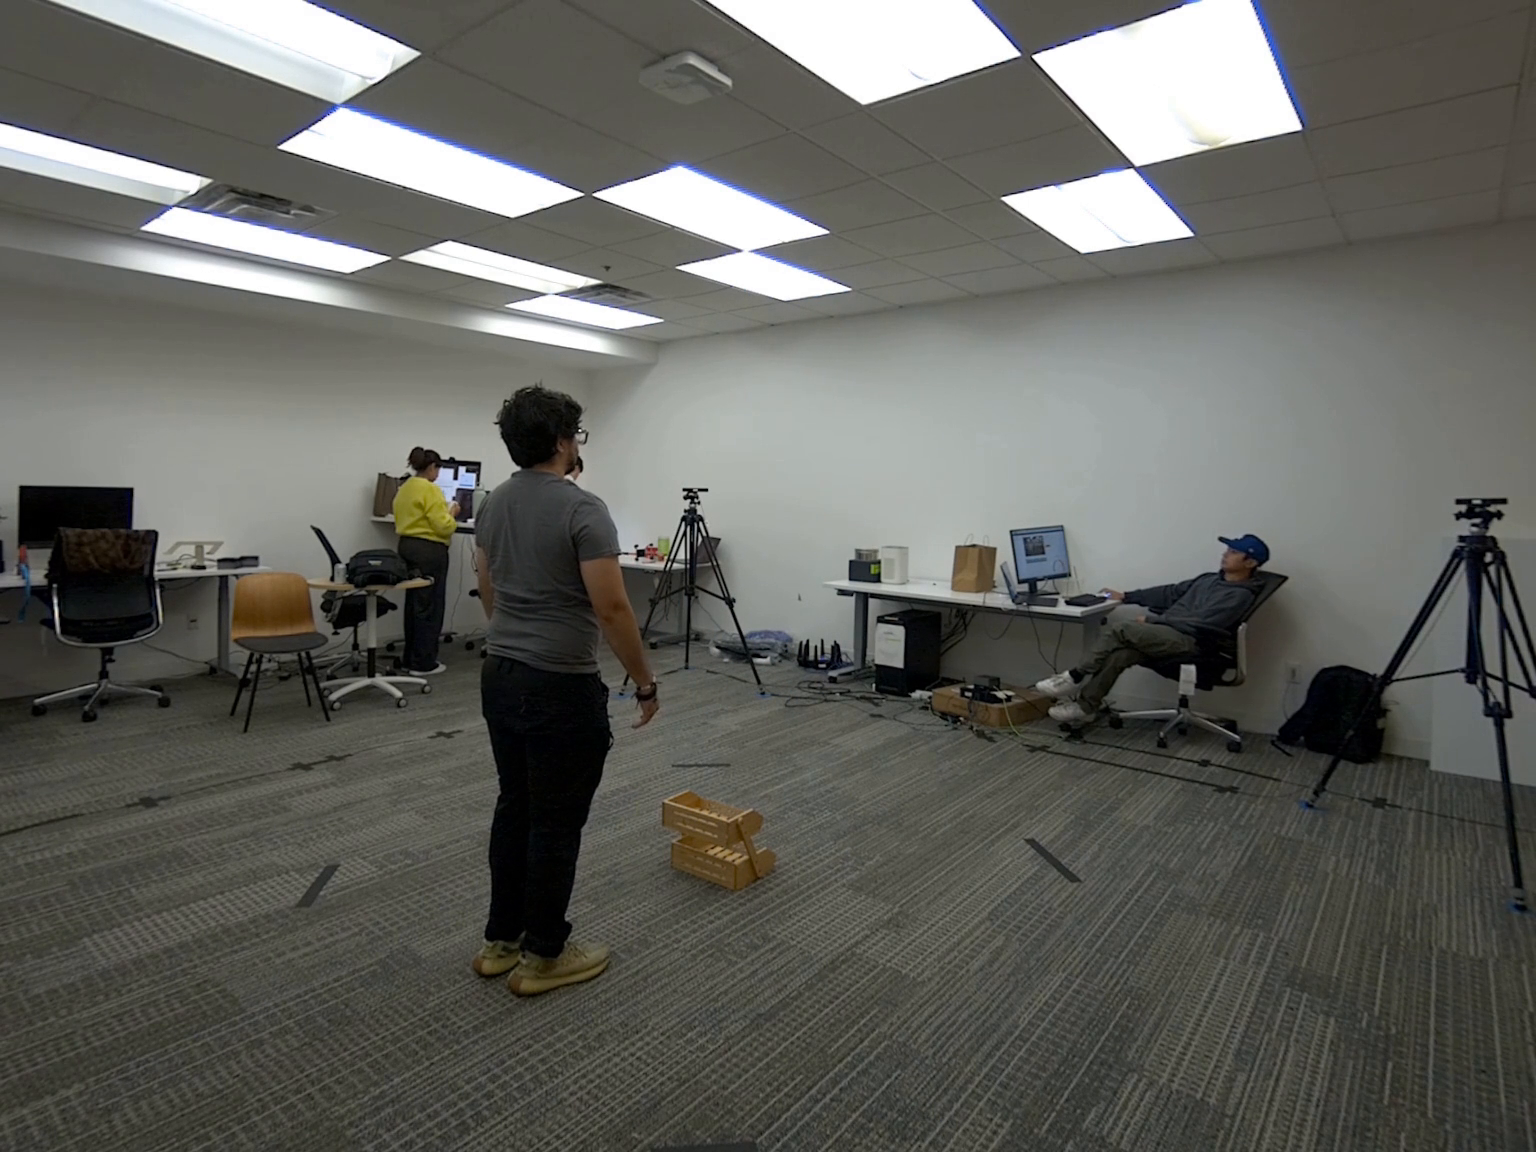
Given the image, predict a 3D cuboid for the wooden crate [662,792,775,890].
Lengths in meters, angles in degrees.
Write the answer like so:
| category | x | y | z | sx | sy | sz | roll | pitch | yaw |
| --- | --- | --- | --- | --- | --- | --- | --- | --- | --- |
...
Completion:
| category | x | y | z | sx | sy | sz | roll | pitch | yaw |
| --- | --- | --- | --- | --- | --- | --- | --- | --- | --- |
| wooden crate | -0.185 | 0.937 | 3.107 | 0.335 | 0.272 | 0.293 | 4 | 6 | 36 |
